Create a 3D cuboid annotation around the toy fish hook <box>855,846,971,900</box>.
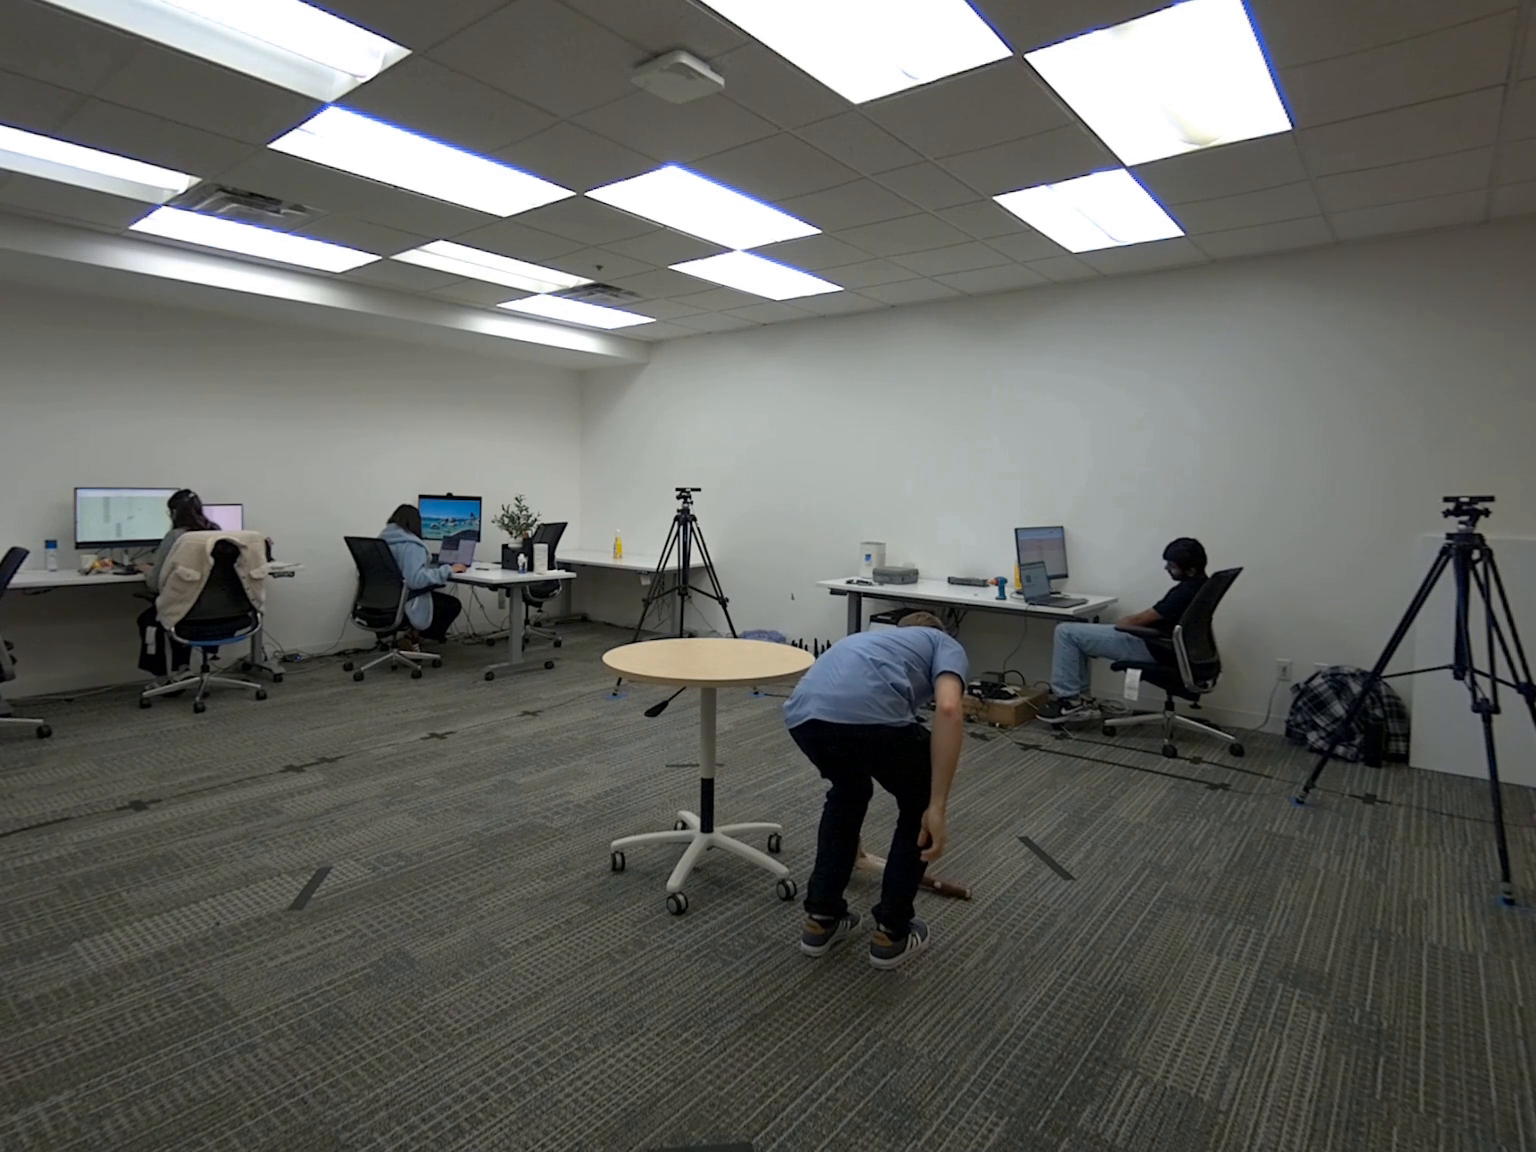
[{"bbox_3d":[0.473,1.057,3.064,0.520,0.048,0.218,10,-4,22],"label":"toy fish hook"}]
